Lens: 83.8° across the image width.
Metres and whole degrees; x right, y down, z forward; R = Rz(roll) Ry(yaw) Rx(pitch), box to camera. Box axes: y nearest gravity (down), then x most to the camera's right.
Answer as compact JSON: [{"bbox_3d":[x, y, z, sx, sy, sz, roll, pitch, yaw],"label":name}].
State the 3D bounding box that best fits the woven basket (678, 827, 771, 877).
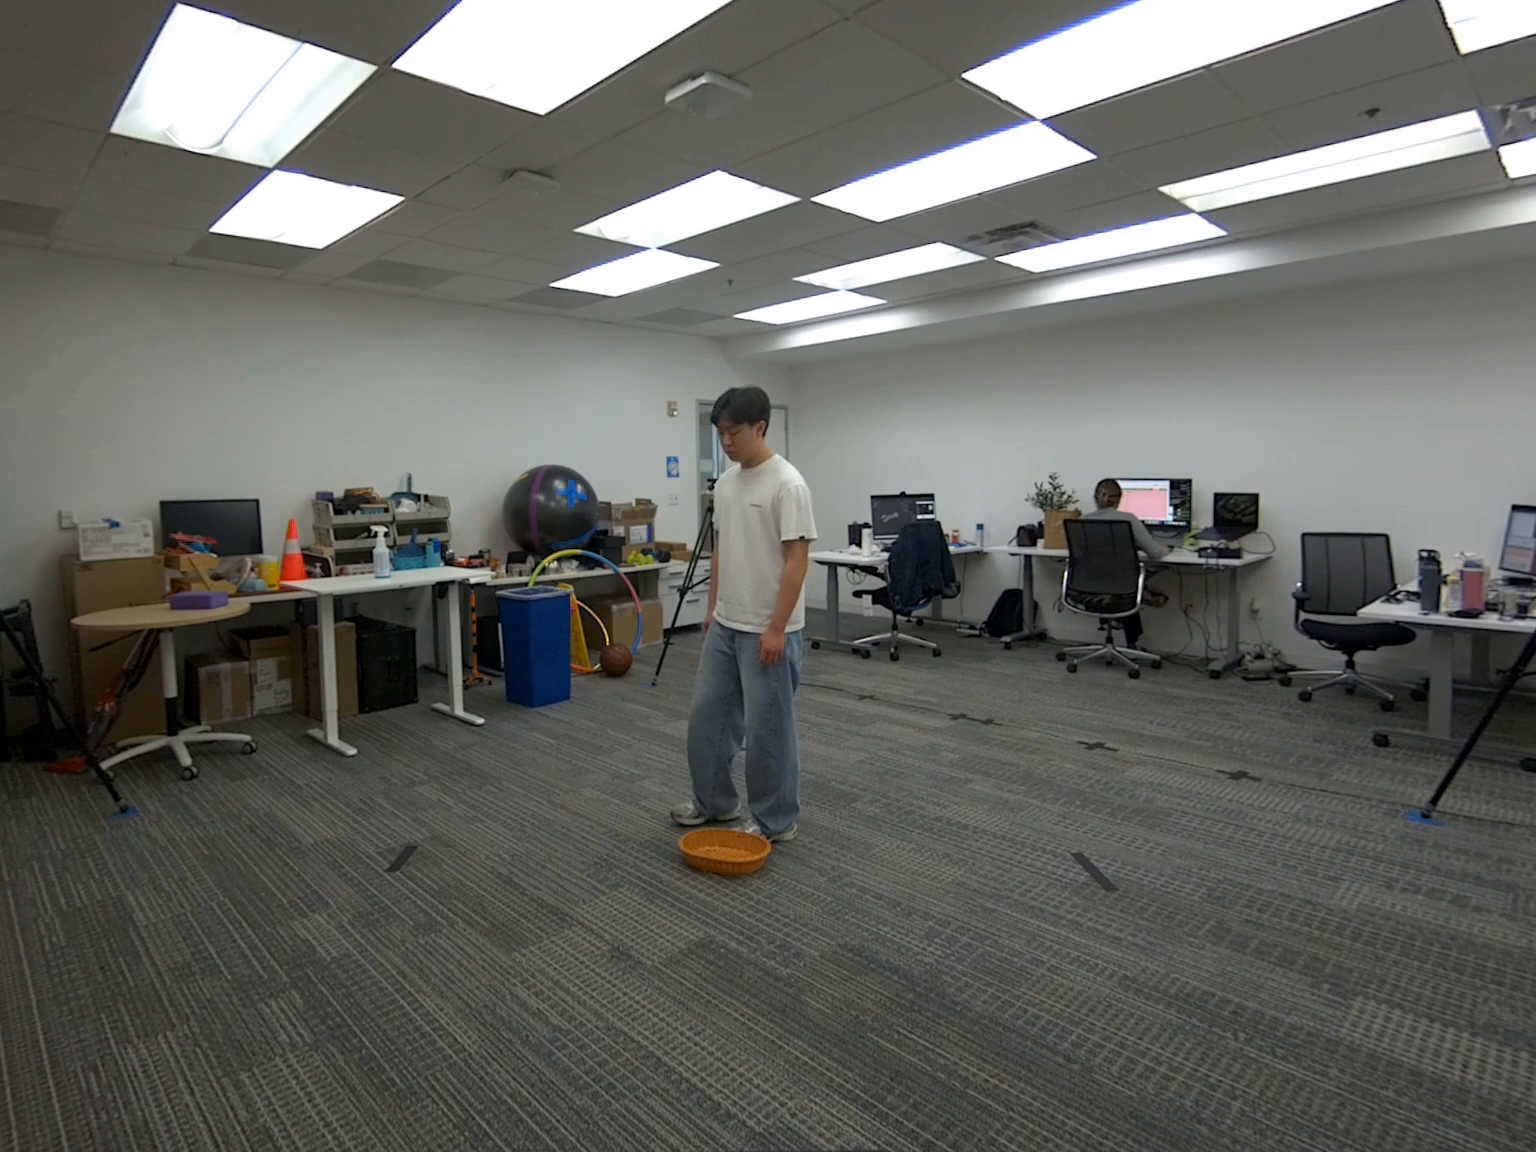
[{"bbox_3d":[-0.161,1.009,3.118,0.359,0.073,0.247,3,7,28],"label":"woven basket"}]
